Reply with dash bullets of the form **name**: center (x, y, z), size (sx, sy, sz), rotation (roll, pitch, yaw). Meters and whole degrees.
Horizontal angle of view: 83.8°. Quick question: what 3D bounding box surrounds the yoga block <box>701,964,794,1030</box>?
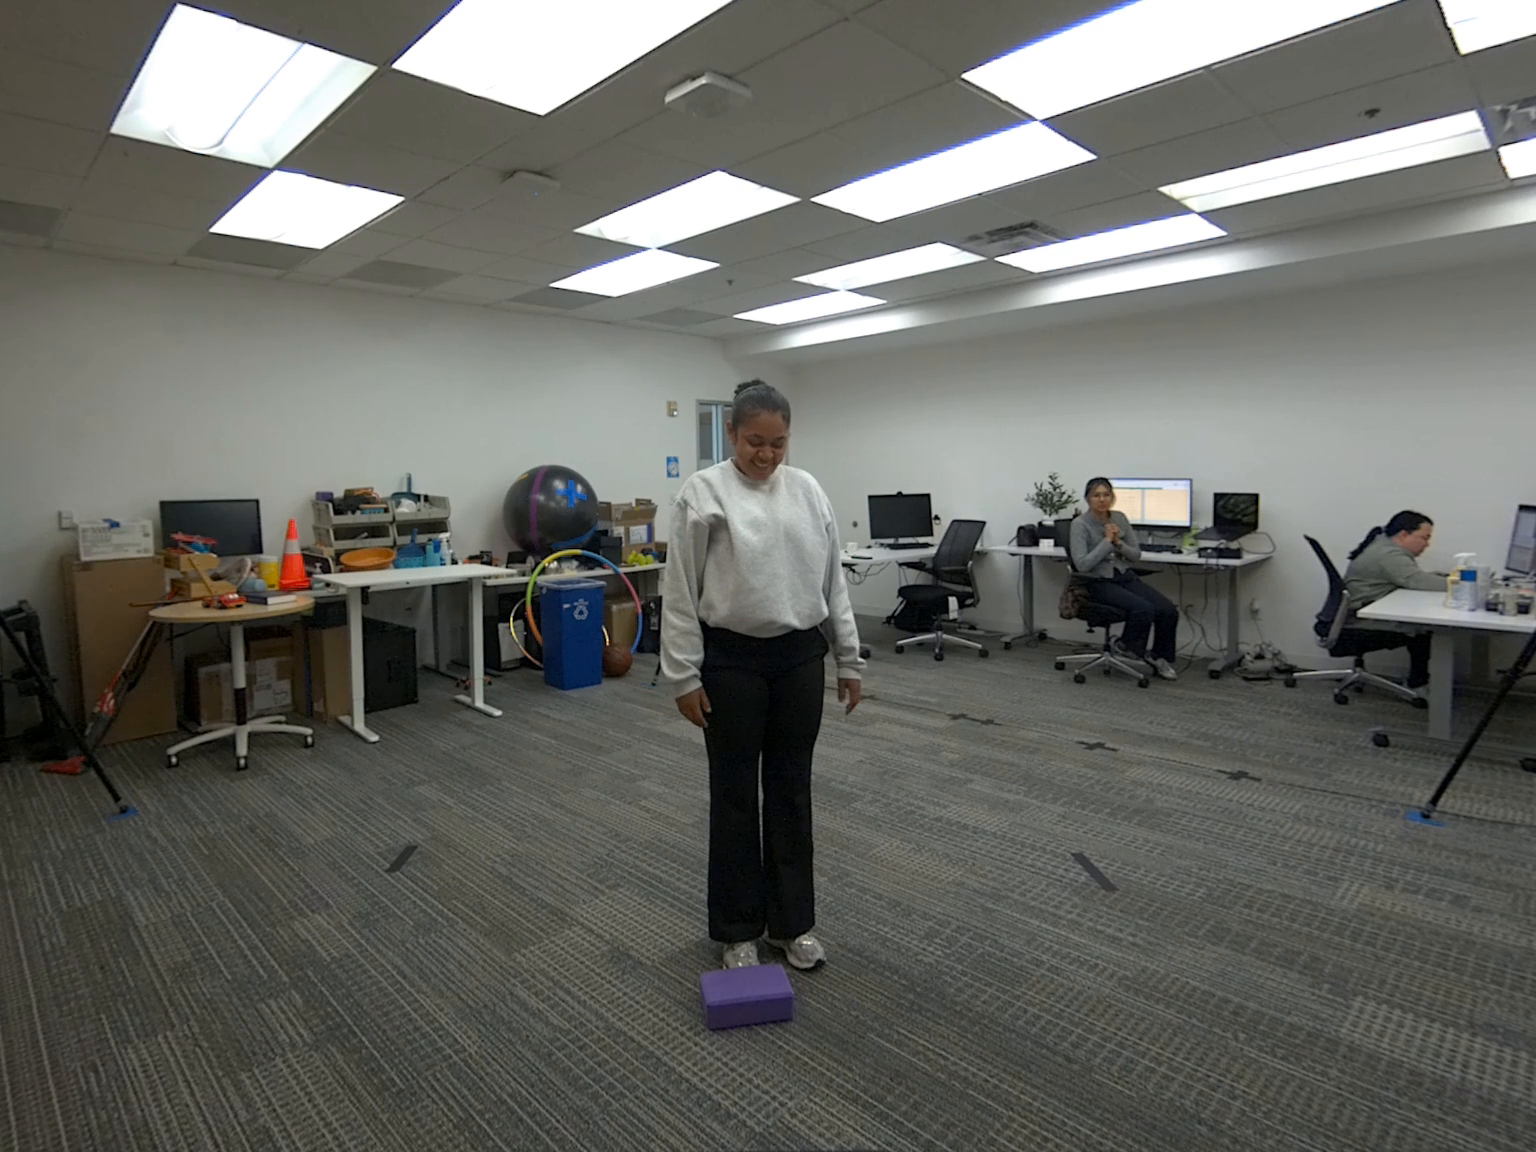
- **yoga block**: center (-0.054, 1.111, 2.254), size (0.227, 0.076, 0.151), rotation (-2, 5, -9)
